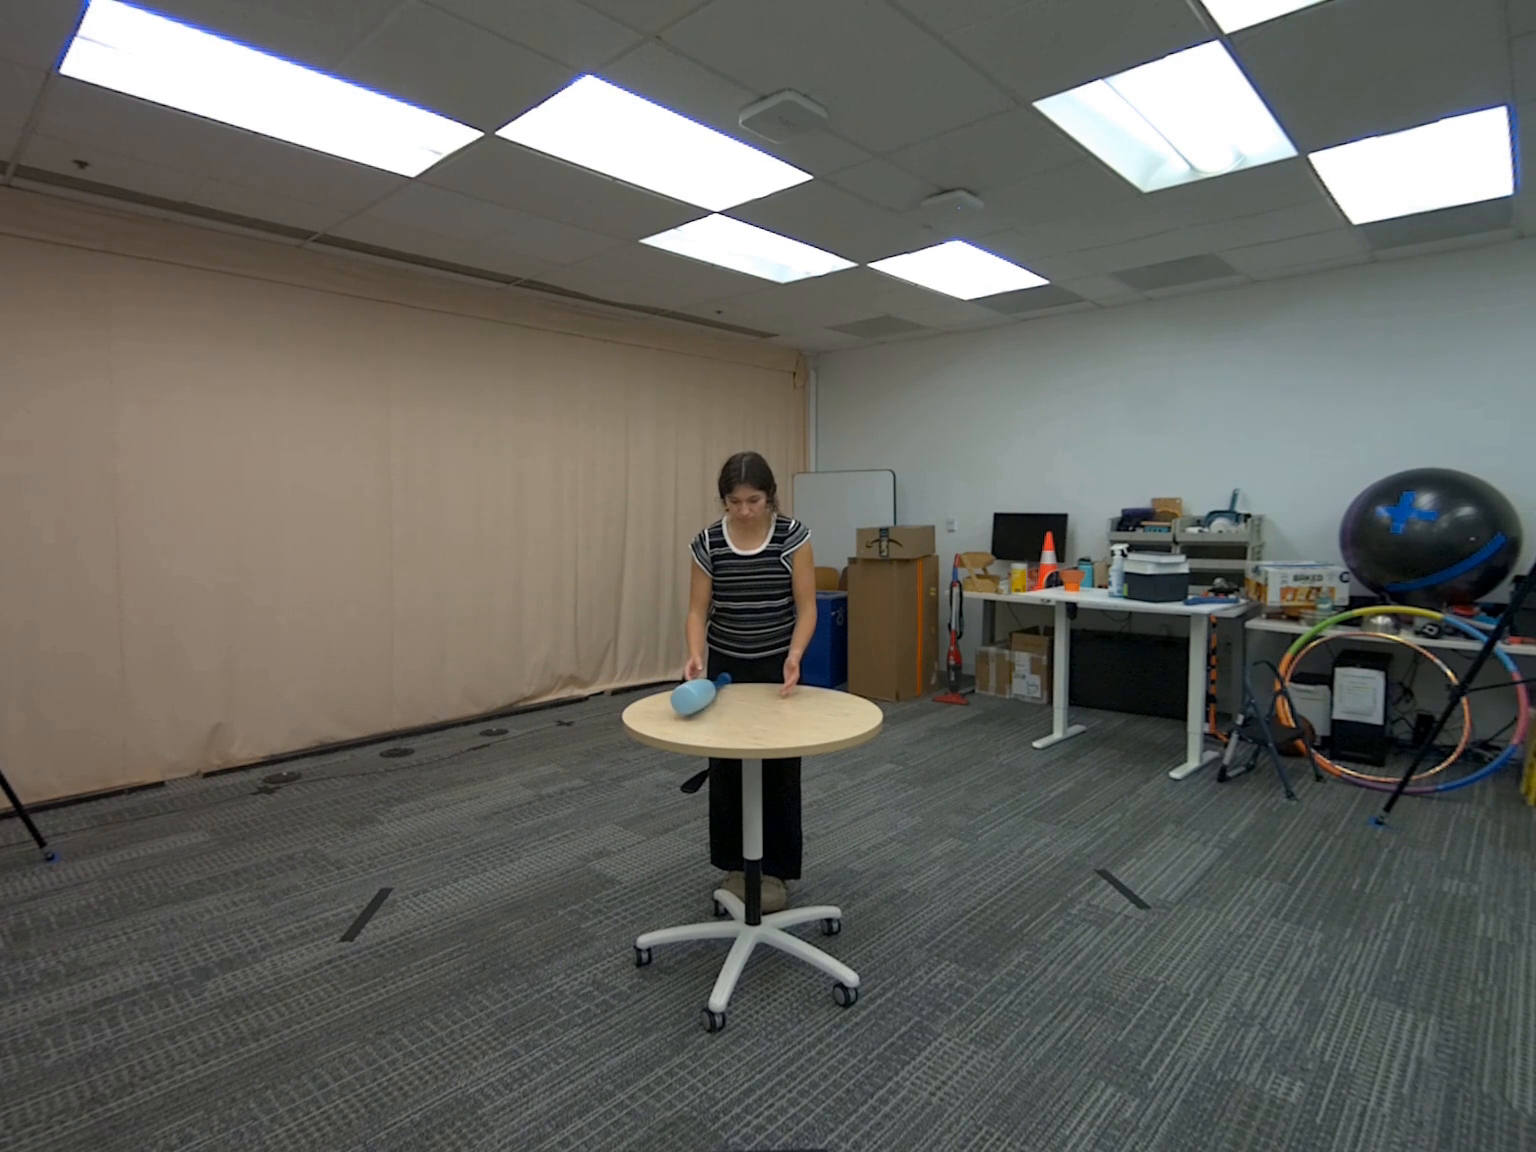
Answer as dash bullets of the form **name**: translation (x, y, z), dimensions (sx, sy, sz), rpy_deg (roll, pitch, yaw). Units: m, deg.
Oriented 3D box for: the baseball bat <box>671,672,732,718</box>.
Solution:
- **baseball bat**: translation (-0.178, 0.353, 2.647), dimensions (0.090, 0.089, 0.537), rpy_deg (1, 0, 8)
